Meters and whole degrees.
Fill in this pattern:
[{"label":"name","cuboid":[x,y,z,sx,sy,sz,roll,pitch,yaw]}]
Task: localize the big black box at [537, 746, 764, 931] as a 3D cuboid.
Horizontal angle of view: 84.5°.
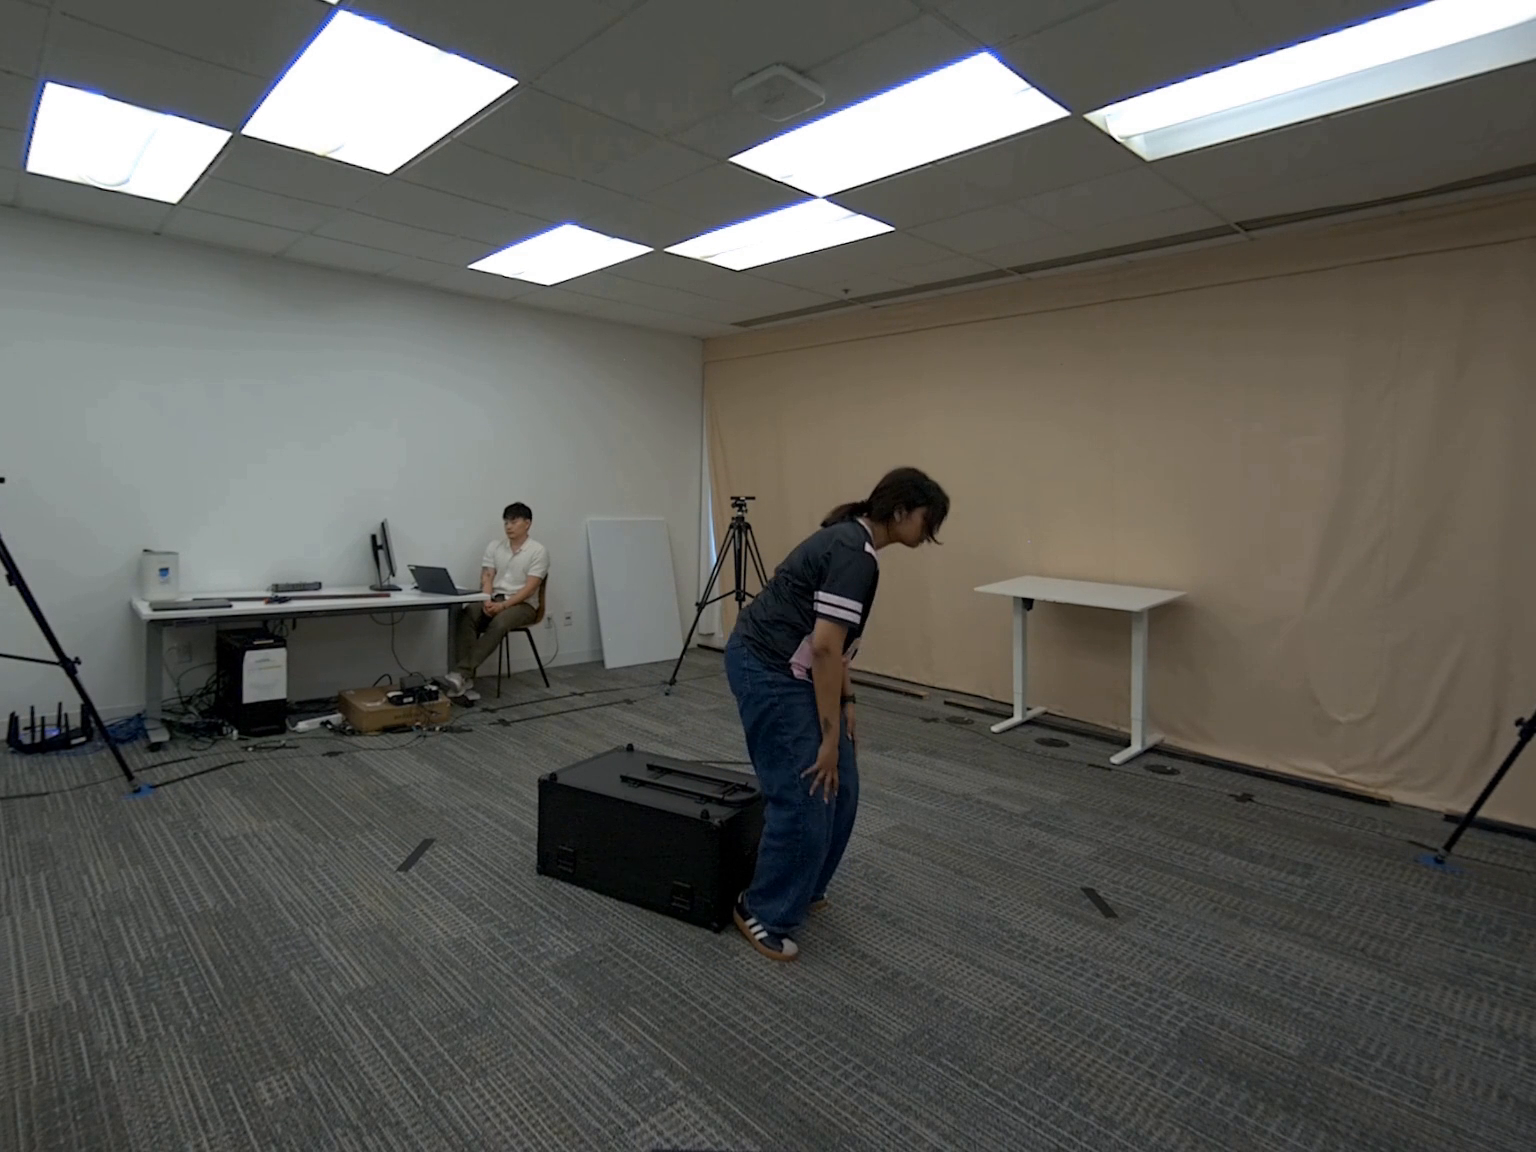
[{"label":"big black box","cuboid":[-0.427,0.914,3.088,0.887,0.384,0.514,4,7,29]}]
